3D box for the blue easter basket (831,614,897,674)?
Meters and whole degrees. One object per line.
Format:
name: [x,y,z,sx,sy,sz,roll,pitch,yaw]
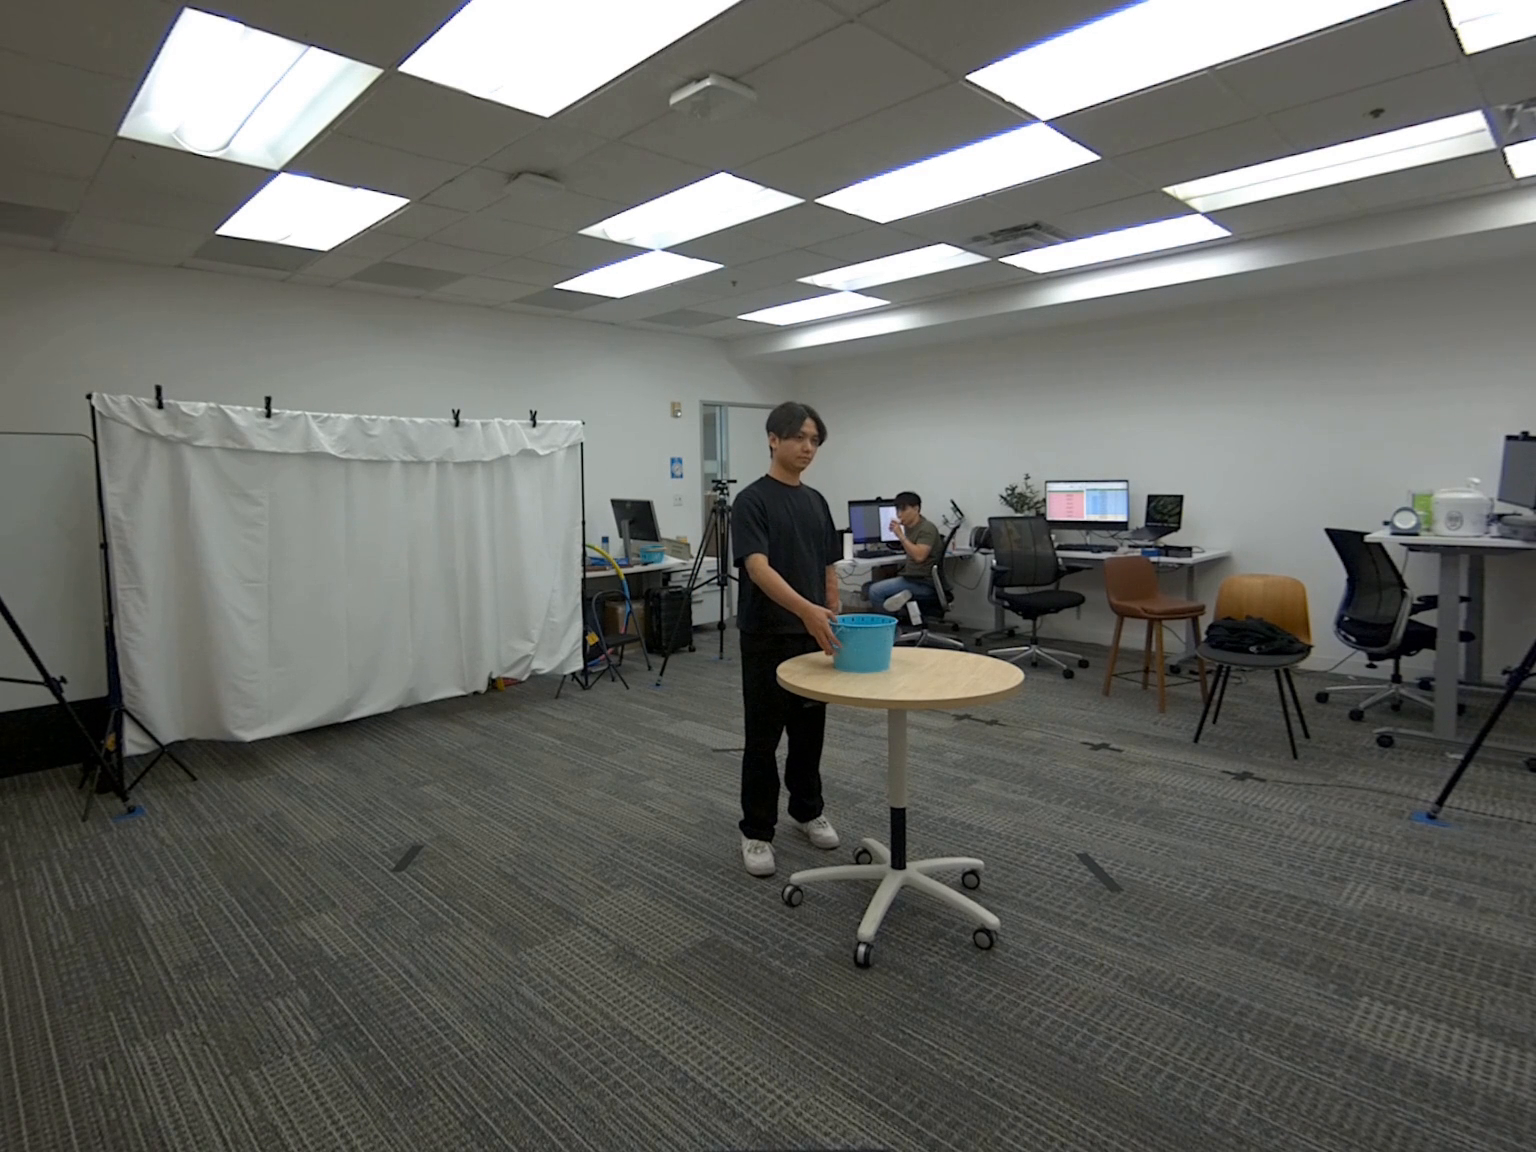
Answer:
blue easter basket: [0.311,0.221,2.782,0.243,0.155,0.245,-2,5,-1]
